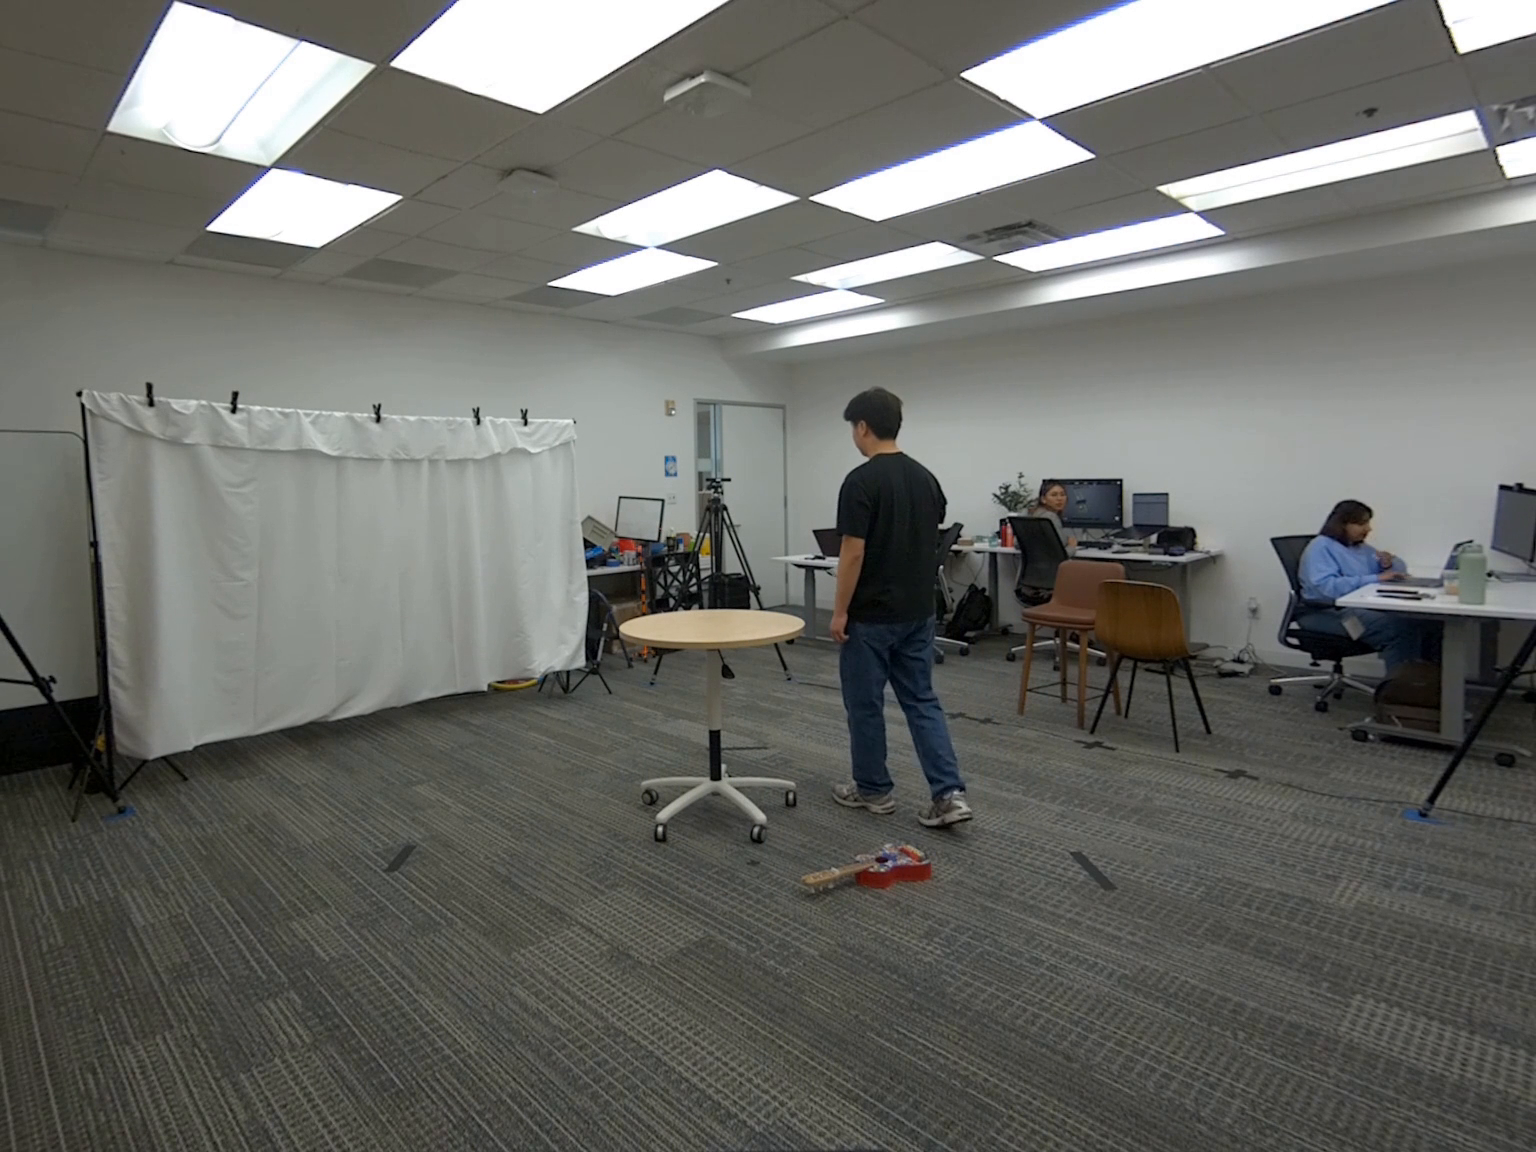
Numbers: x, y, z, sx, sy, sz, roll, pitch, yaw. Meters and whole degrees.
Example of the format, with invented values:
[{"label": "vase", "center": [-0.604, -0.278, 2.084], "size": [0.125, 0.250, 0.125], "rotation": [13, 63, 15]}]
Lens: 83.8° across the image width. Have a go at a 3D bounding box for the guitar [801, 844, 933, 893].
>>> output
[{"label": "guitar", "center": [0.325, 1.017, 2.971], "size": [0.489, 0.070, 0.197], "rotation": [-3, 7, -19]}]
